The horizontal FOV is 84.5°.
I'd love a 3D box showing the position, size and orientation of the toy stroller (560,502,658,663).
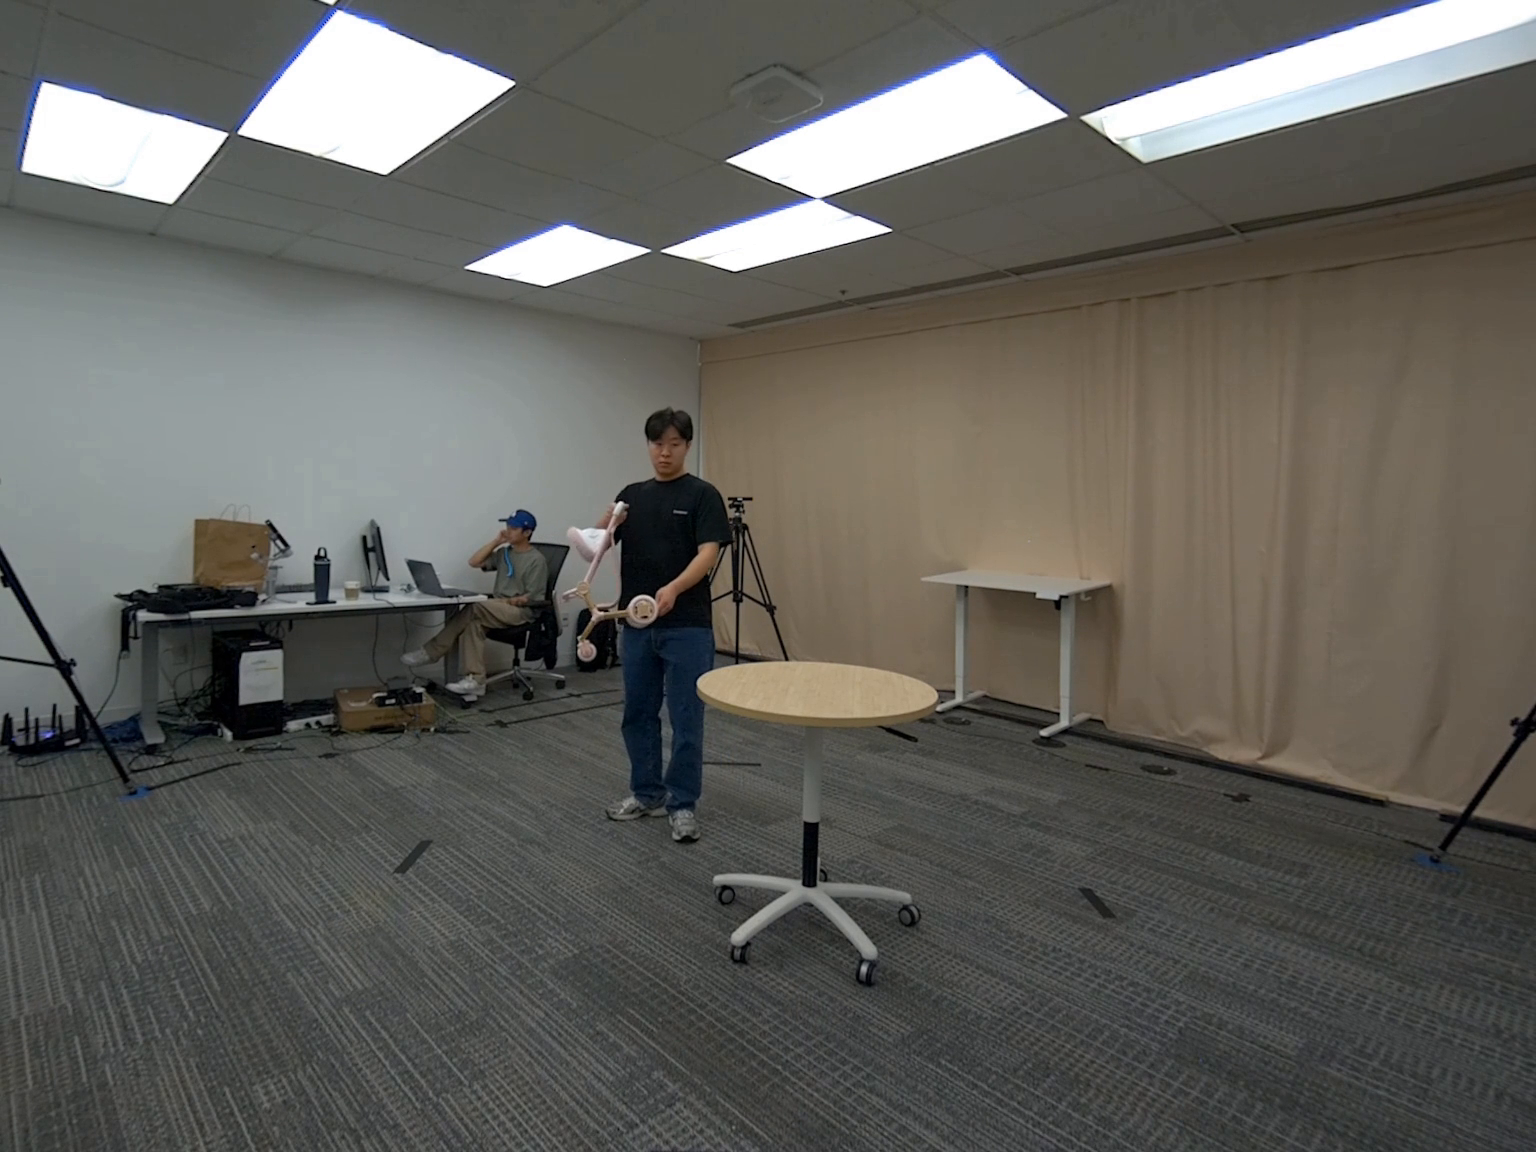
[{"bbox_3d":[-0.646,0.027,3.200,0.340,0.537,0.281,-18,-4,-8],"label":"toy stroller"}]
